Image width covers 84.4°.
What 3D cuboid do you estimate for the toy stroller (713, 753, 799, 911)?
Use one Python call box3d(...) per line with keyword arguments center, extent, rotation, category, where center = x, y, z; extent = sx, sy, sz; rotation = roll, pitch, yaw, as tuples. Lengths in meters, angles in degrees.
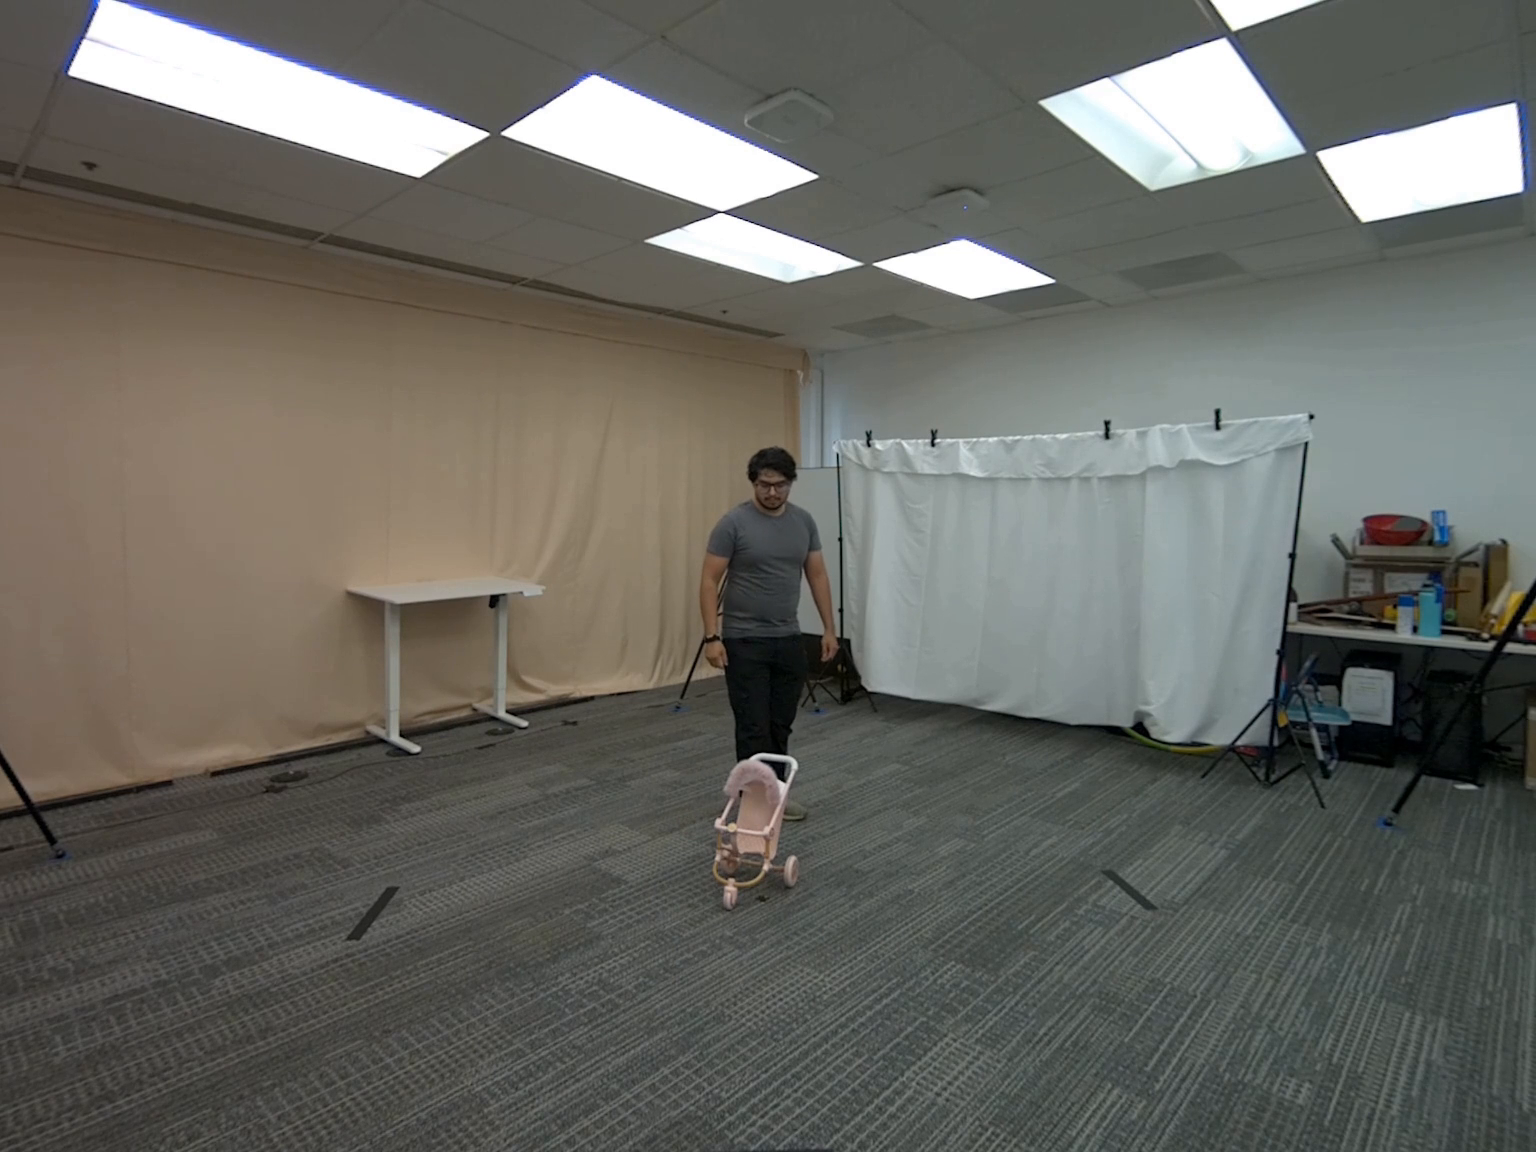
box3d(center=(-0.059, 0.909, 3.072), extent=(0.289, 0.538, 0.330), rotation=(1, -14, 29), category="toy stroller")
